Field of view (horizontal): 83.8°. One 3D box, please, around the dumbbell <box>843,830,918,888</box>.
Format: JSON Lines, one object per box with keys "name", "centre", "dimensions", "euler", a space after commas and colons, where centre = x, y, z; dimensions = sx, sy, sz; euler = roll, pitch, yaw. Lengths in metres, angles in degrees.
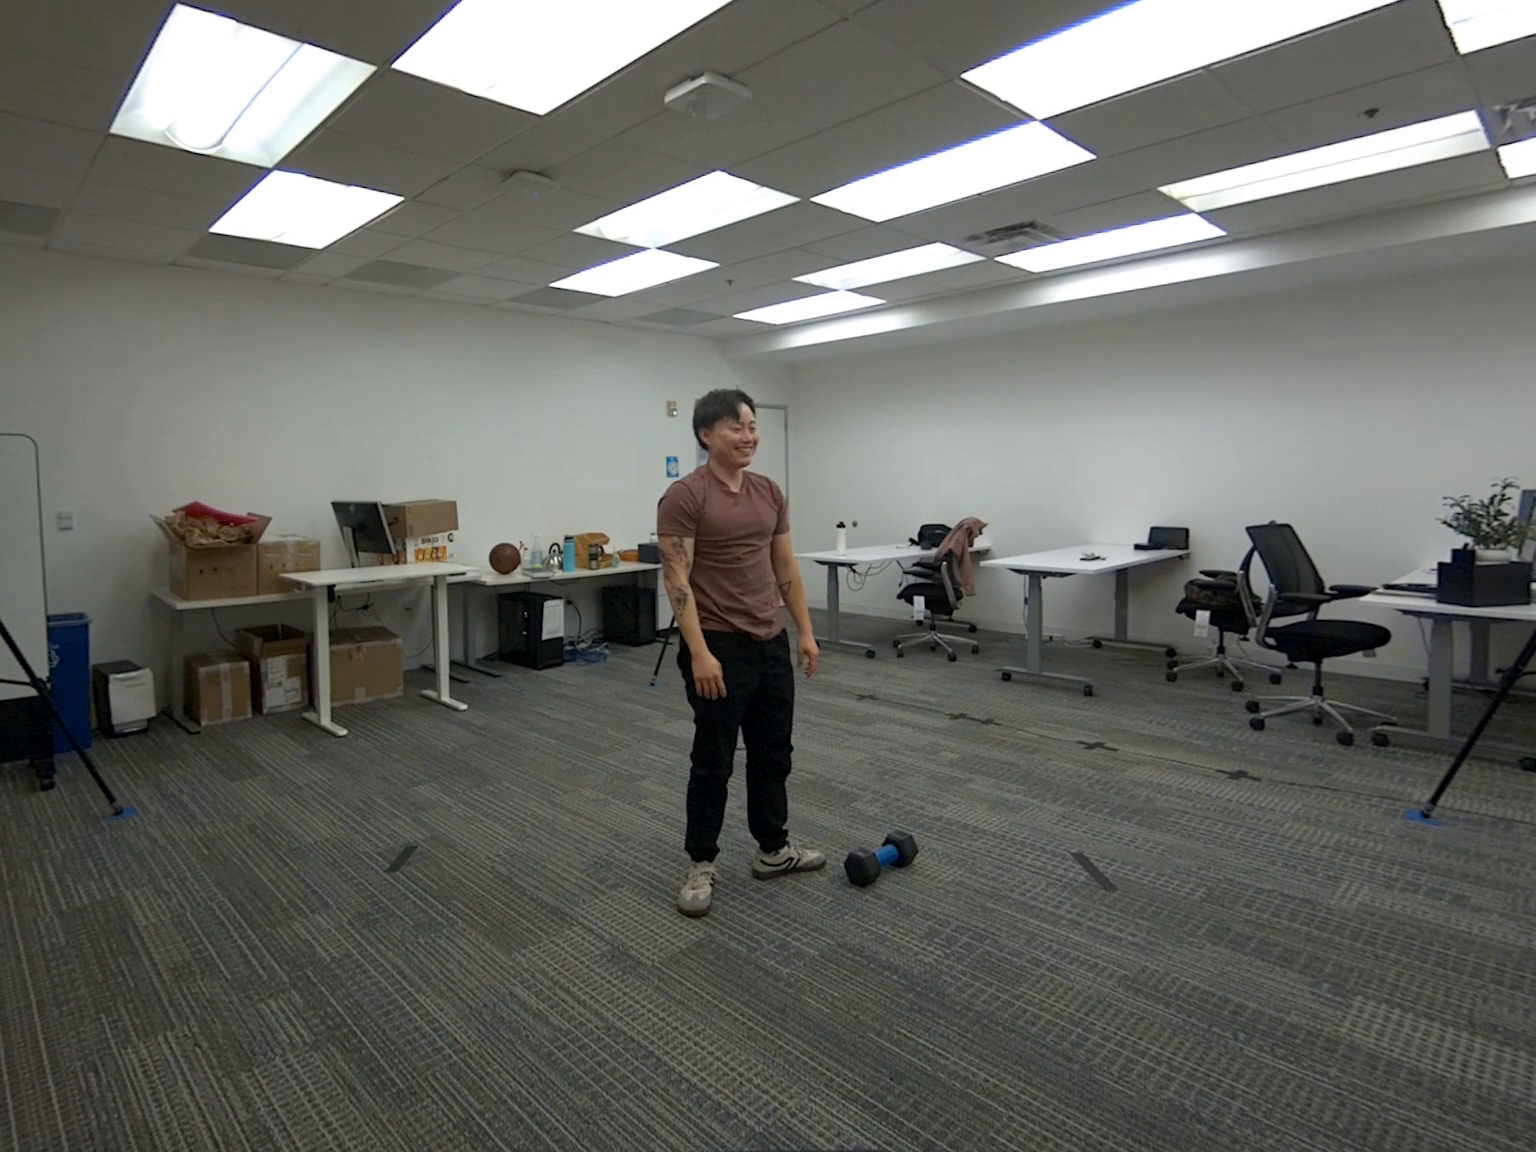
{"name": "dumbbell", "centre": [0.406, 0.995, 3.013], "dimensions": [0.286, 0.121, 0.113], "euler": [-7, 38, -42]}
